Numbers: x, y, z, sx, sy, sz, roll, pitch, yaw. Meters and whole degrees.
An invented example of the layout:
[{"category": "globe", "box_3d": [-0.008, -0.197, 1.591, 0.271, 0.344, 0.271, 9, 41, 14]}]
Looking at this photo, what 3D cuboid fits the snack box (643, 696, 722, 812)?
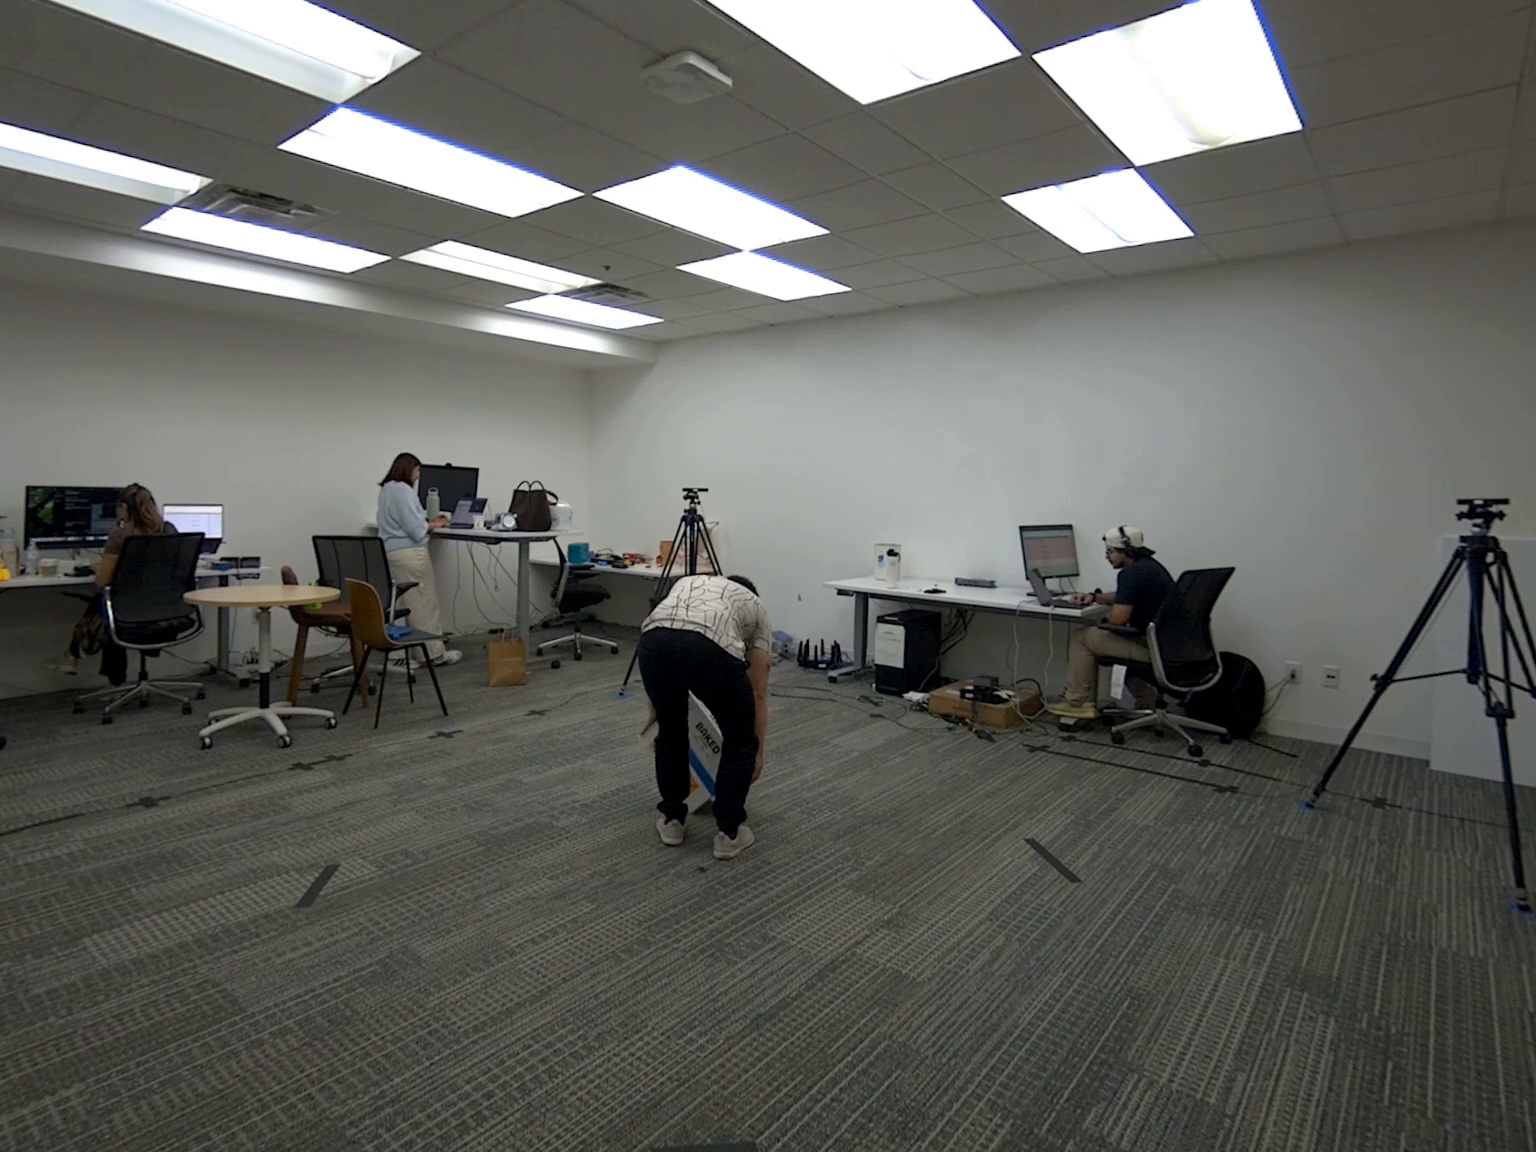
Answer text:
[{"category": "snack box", "box_3d": [-0.304, 0.746, 3.717, 0.341, 0.414, 0.201, -43, -15, 19]}]
